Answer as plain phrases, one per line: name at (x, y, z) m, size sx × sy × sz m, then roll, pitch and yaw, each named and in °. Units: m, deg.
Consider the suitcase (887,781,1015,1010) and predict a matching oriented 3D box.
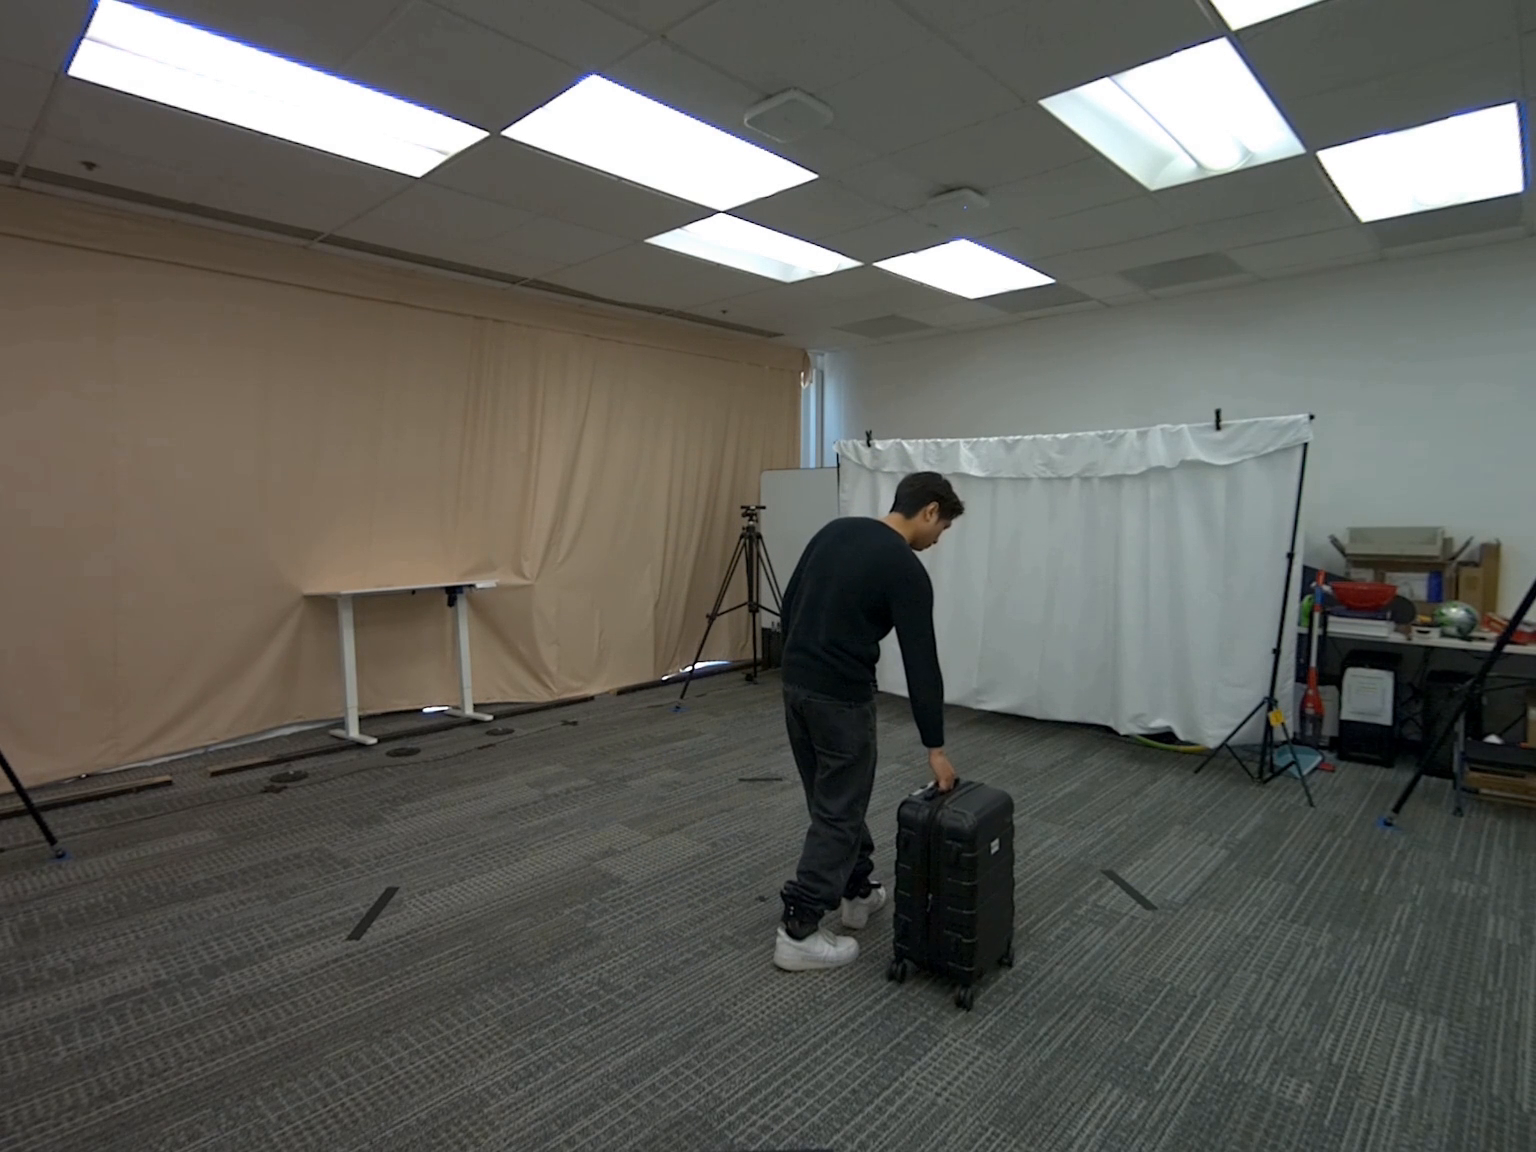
suitcase at (0.571, 0.910, 2.513) m, size 0.256 × 0.548 × 0.364 m, roll 3°, pitch 3°, yaw 39°
